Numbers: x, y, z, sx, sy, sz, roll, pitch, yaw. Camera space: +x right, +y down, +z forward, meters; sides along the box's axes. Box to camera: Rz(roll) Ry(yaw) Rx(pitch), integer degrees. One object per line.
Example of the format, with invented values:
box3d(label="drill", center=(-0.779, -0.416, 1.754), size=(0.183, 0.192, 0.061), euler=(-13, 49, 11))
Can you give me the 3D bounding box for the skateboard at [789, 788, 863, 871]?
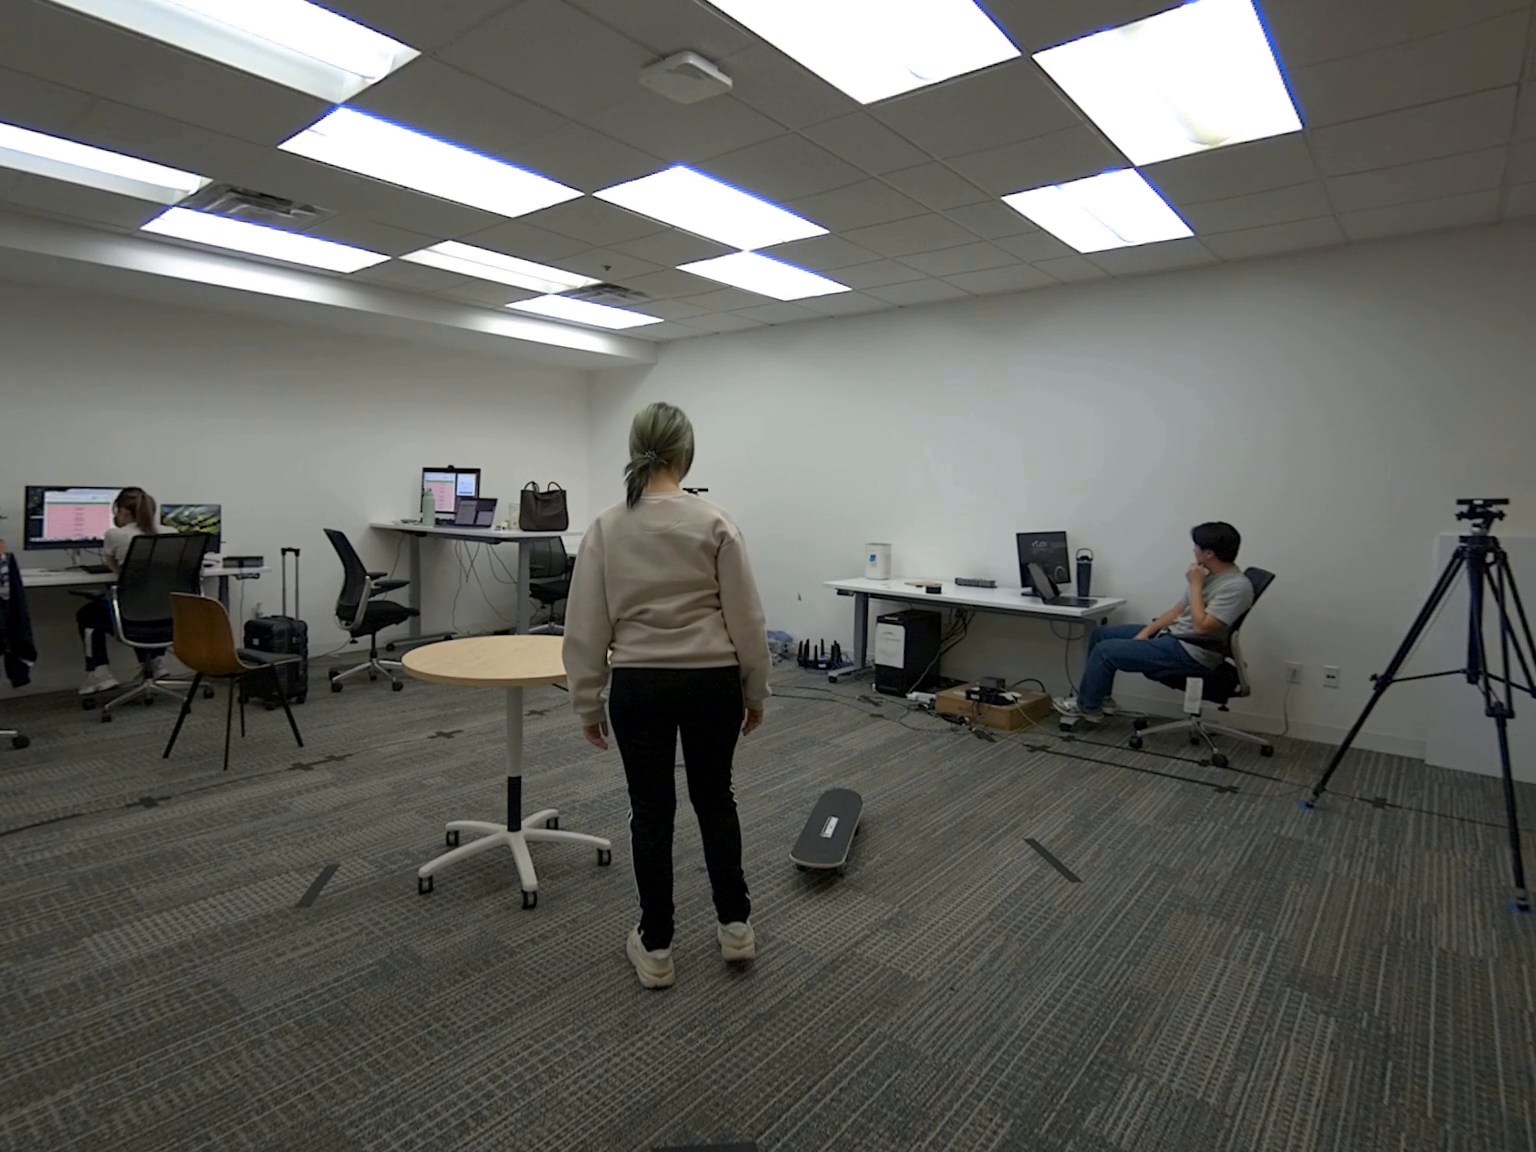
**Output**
box3d(label="skateboard", center=(0.235, 1.001, 3.310), size=(0.197, 0.110, 0.775), euler=(2, 6, 14))
